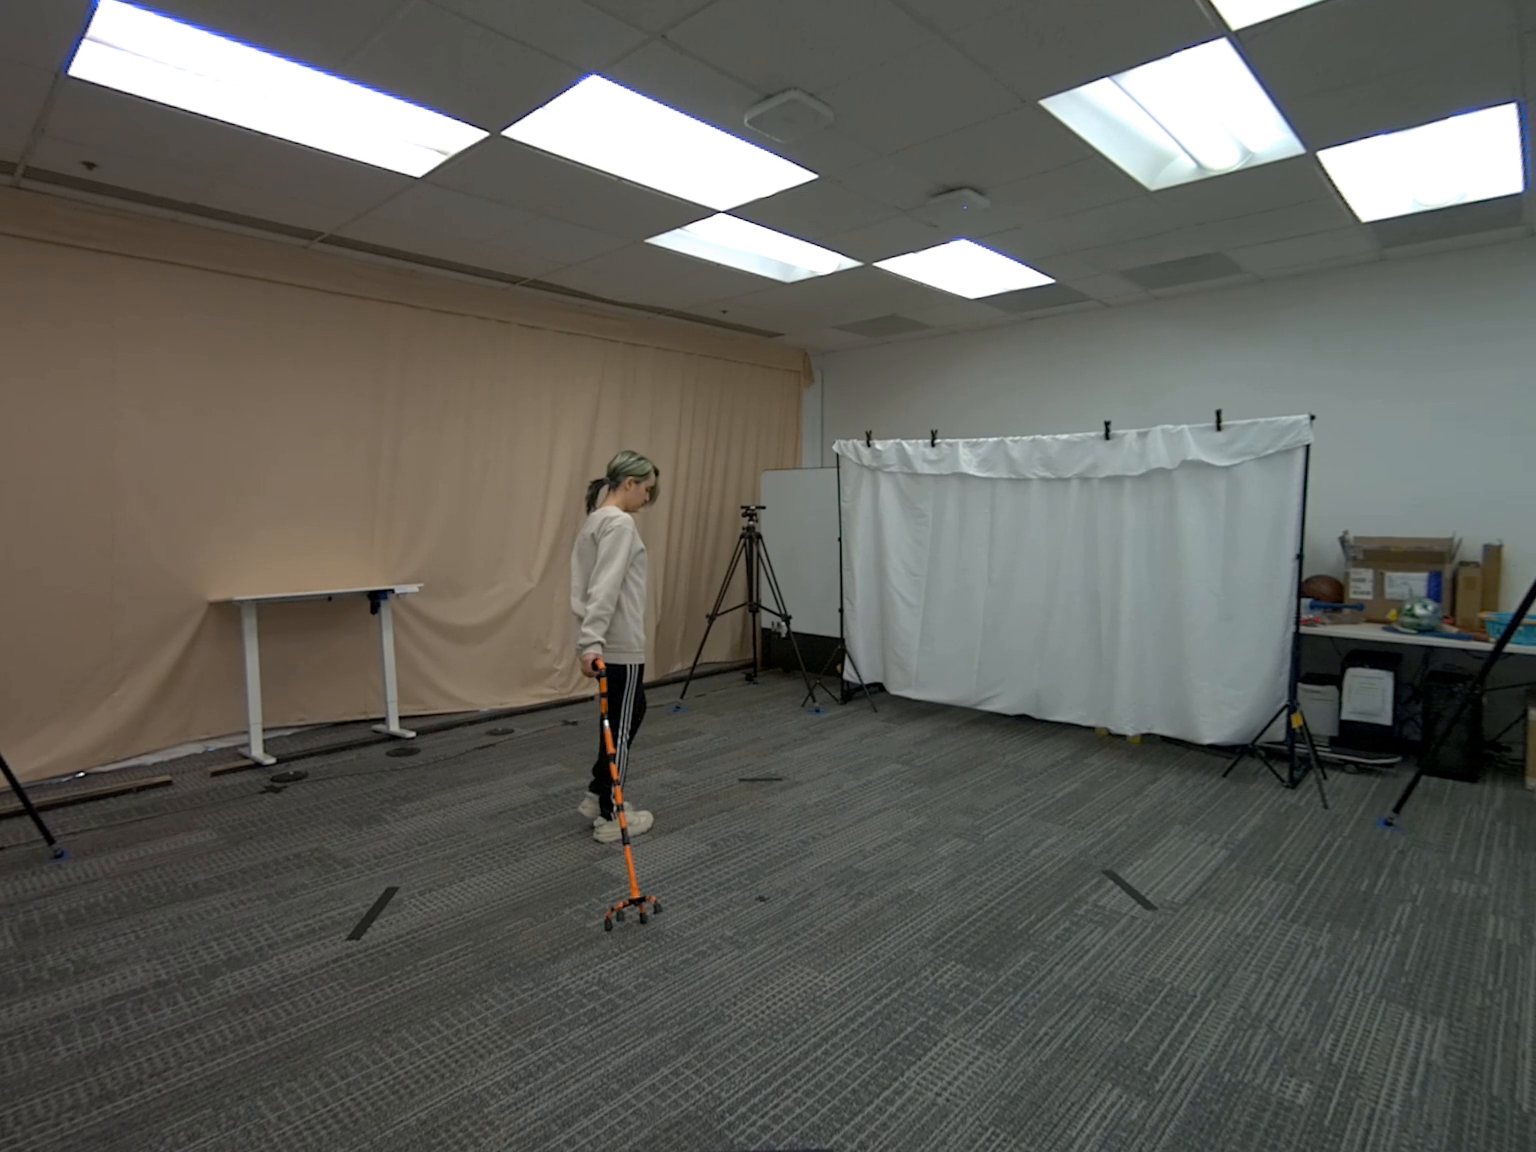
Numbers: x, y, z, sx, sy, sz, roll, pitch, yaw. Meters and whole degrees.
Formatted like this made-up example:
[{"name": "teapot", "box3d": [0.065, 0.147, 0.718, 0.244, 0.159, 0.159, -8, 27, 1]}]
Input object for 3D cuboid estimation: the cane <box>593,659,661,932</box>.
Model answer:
[{"name": "cane", "box3d": [-0.538, 0.724, 2.919, 0.148, 0.927, 0.206, -2, -30, -23]}]
